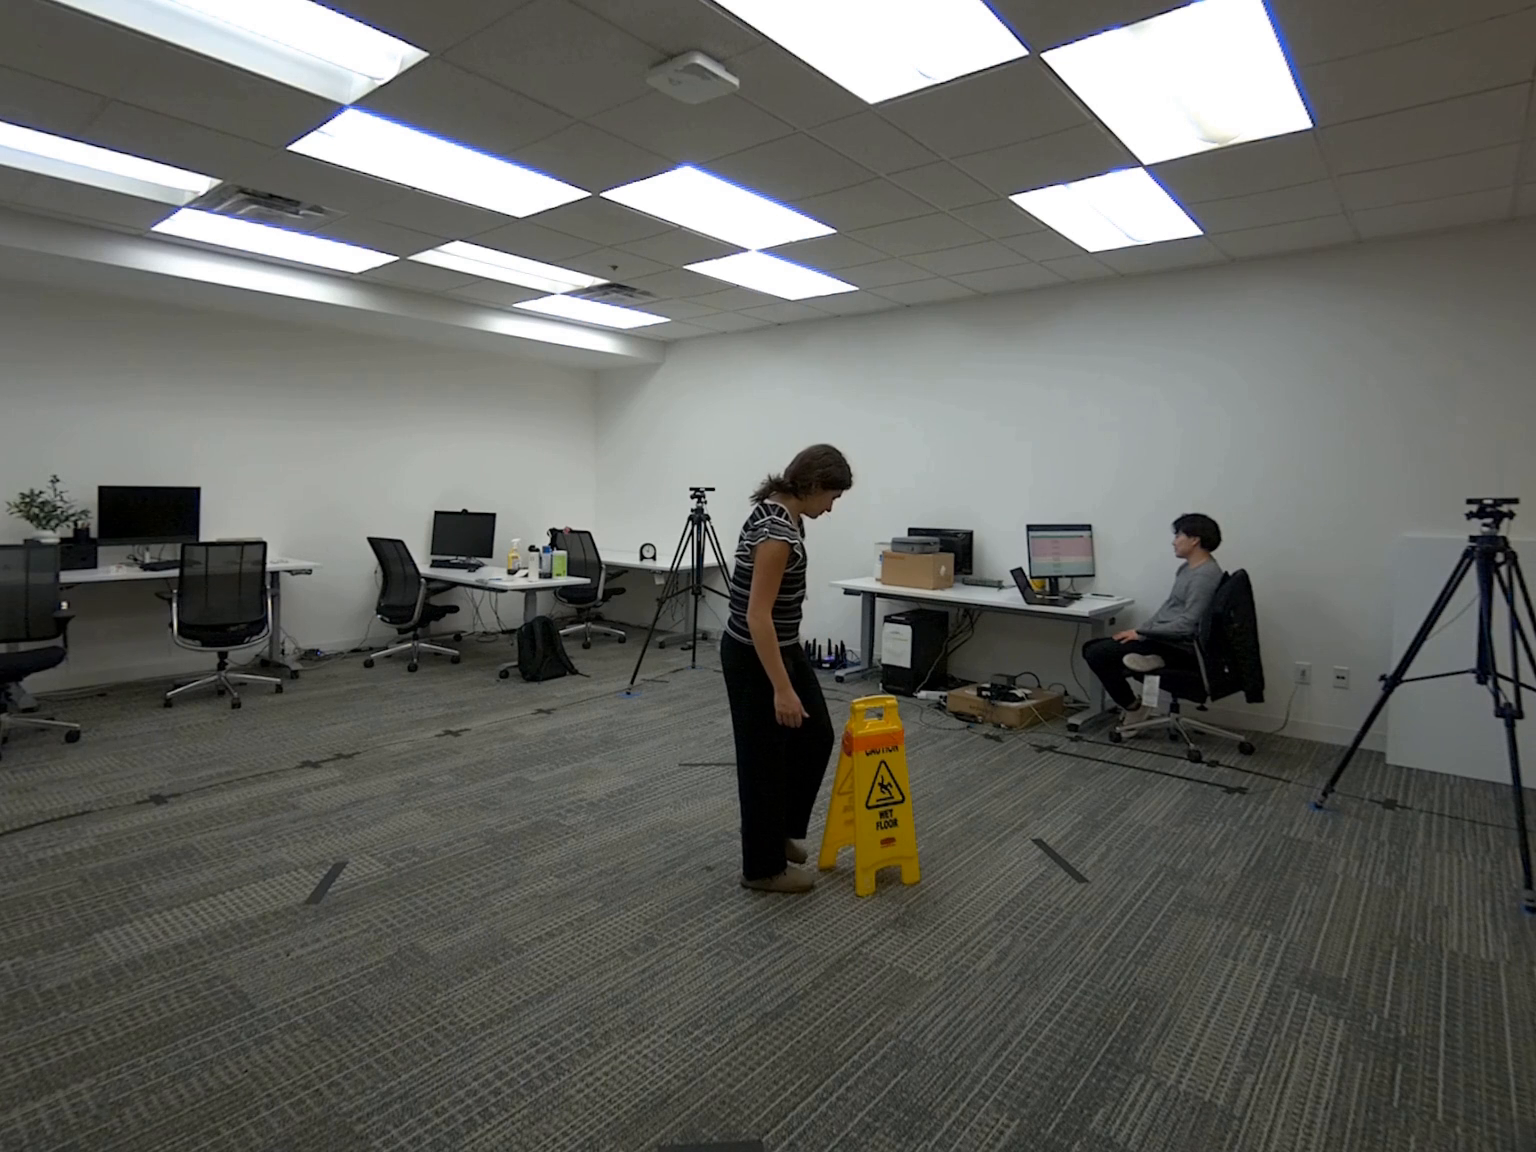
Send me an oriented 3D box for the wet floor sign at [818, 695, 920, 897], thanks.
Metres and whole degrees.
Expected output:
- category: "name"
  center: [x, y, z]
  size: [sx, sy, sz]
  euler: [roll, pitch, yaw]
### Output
- category: "wet floor sign"
  center: [0.368, 0.760, 3.071]
  size: [0.275, 0.644, 0.298]
  euler: [0, 4, -30]
